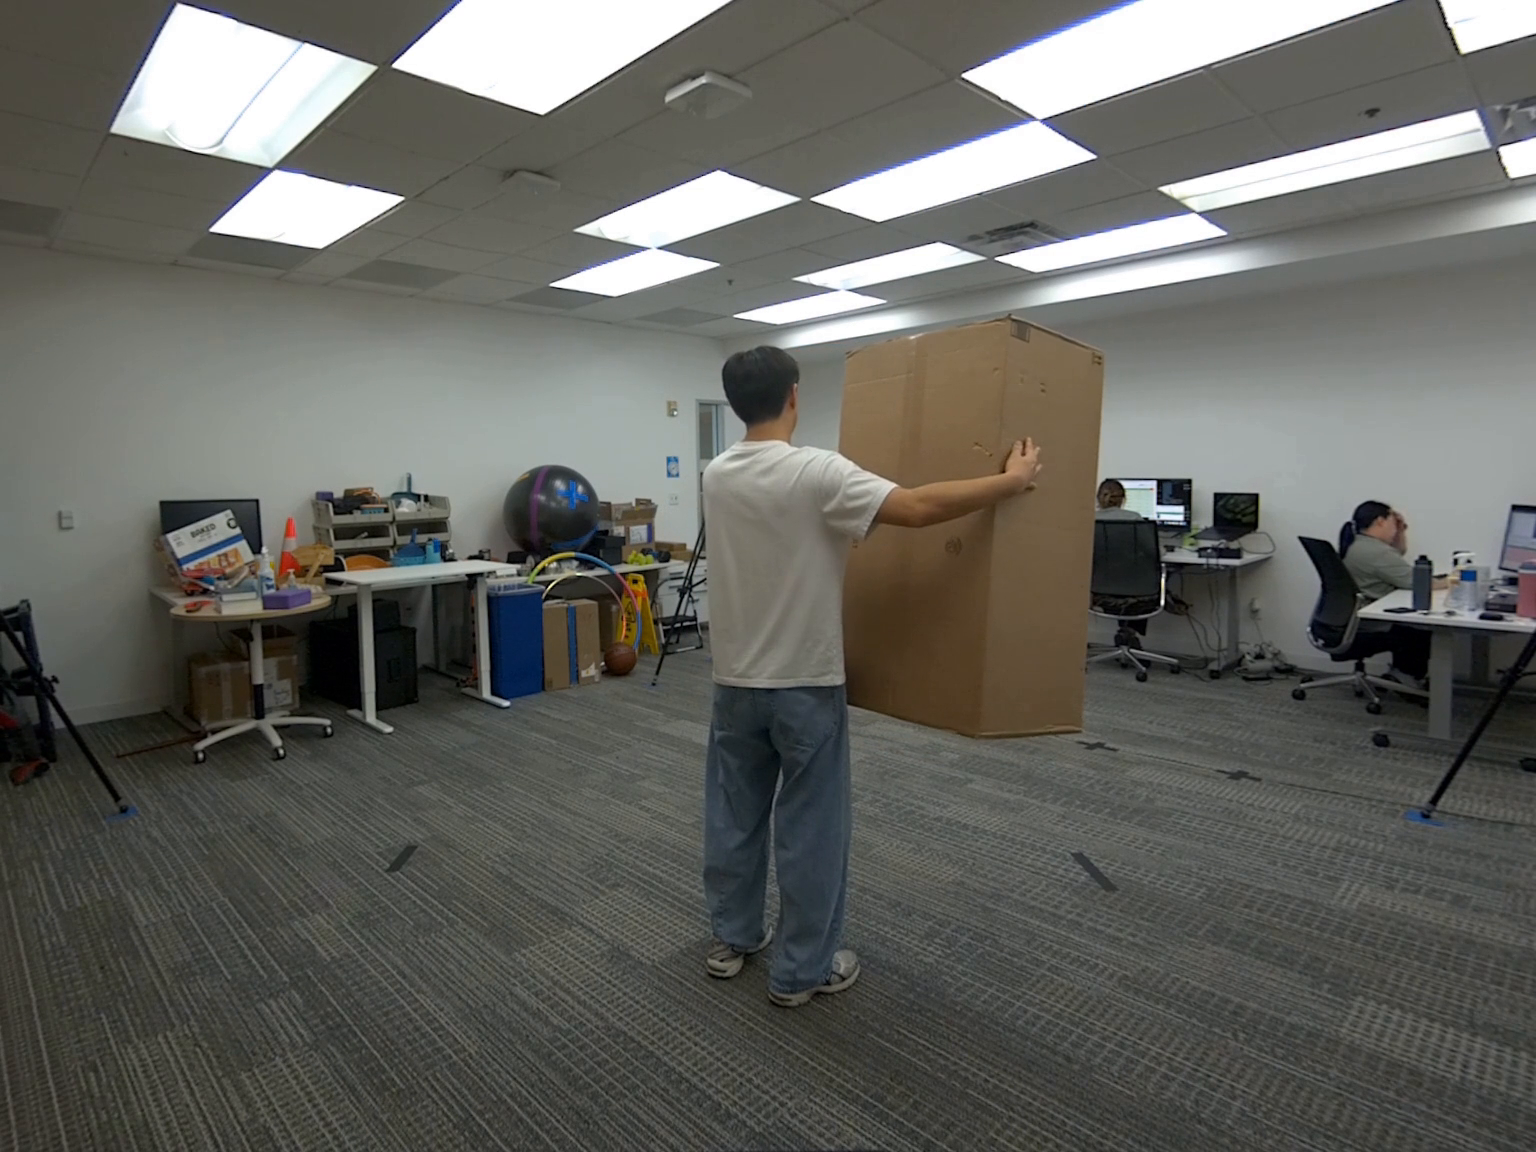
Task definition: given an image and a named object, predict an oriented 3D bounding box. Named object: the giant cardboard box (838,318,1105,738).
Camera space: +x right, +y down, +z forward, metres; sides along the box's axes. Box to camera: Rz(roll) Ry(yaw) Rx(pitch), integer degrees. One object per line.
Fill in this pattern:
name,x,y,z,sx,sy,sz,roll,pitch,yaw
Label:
giant cardboard box,0.533,-0.124,2.392,0.413,1.028,0.594,7,-3,-37
